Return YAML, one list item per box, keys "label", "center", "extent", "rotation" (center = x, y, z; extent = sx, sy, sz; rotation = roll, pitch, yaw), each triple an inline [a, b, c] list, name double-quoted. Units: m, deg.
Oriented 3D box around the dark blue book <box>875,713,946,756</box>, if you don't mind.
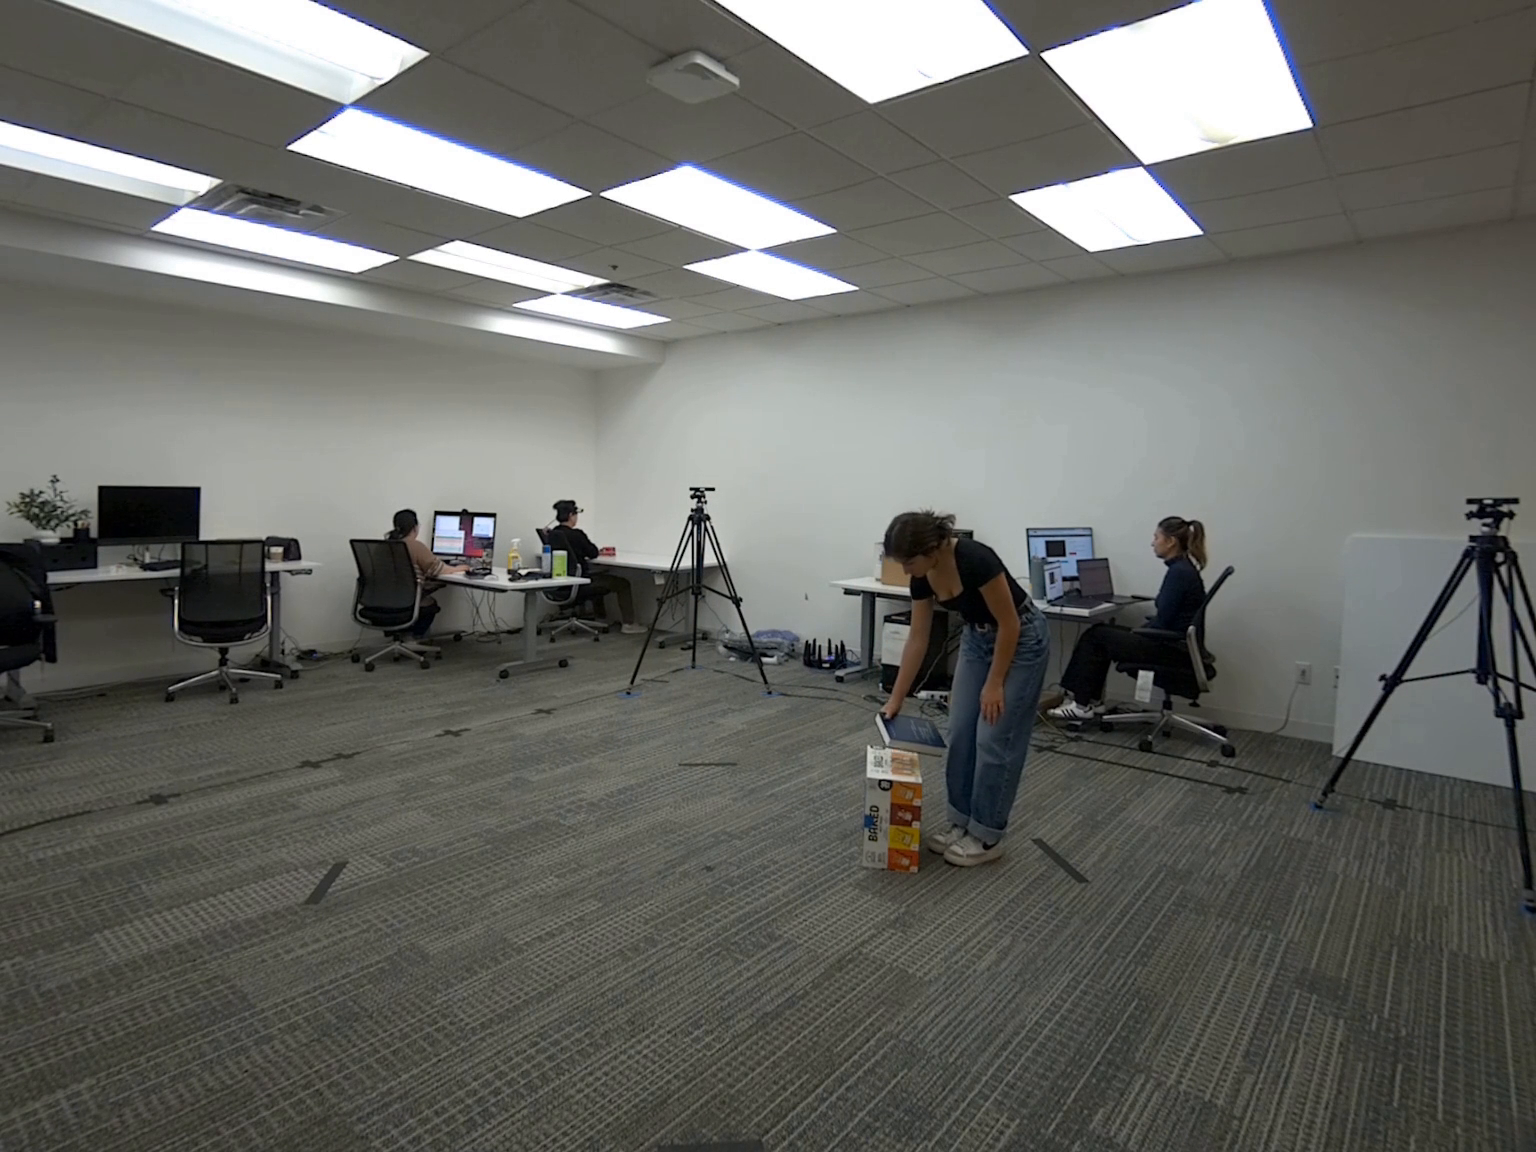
- label: "dark blue book"
  center: [0.543, 0.605, 3.304]
  extent: [0.241, 0.044, 0.168]
  rotation: [12, 29, -15]
